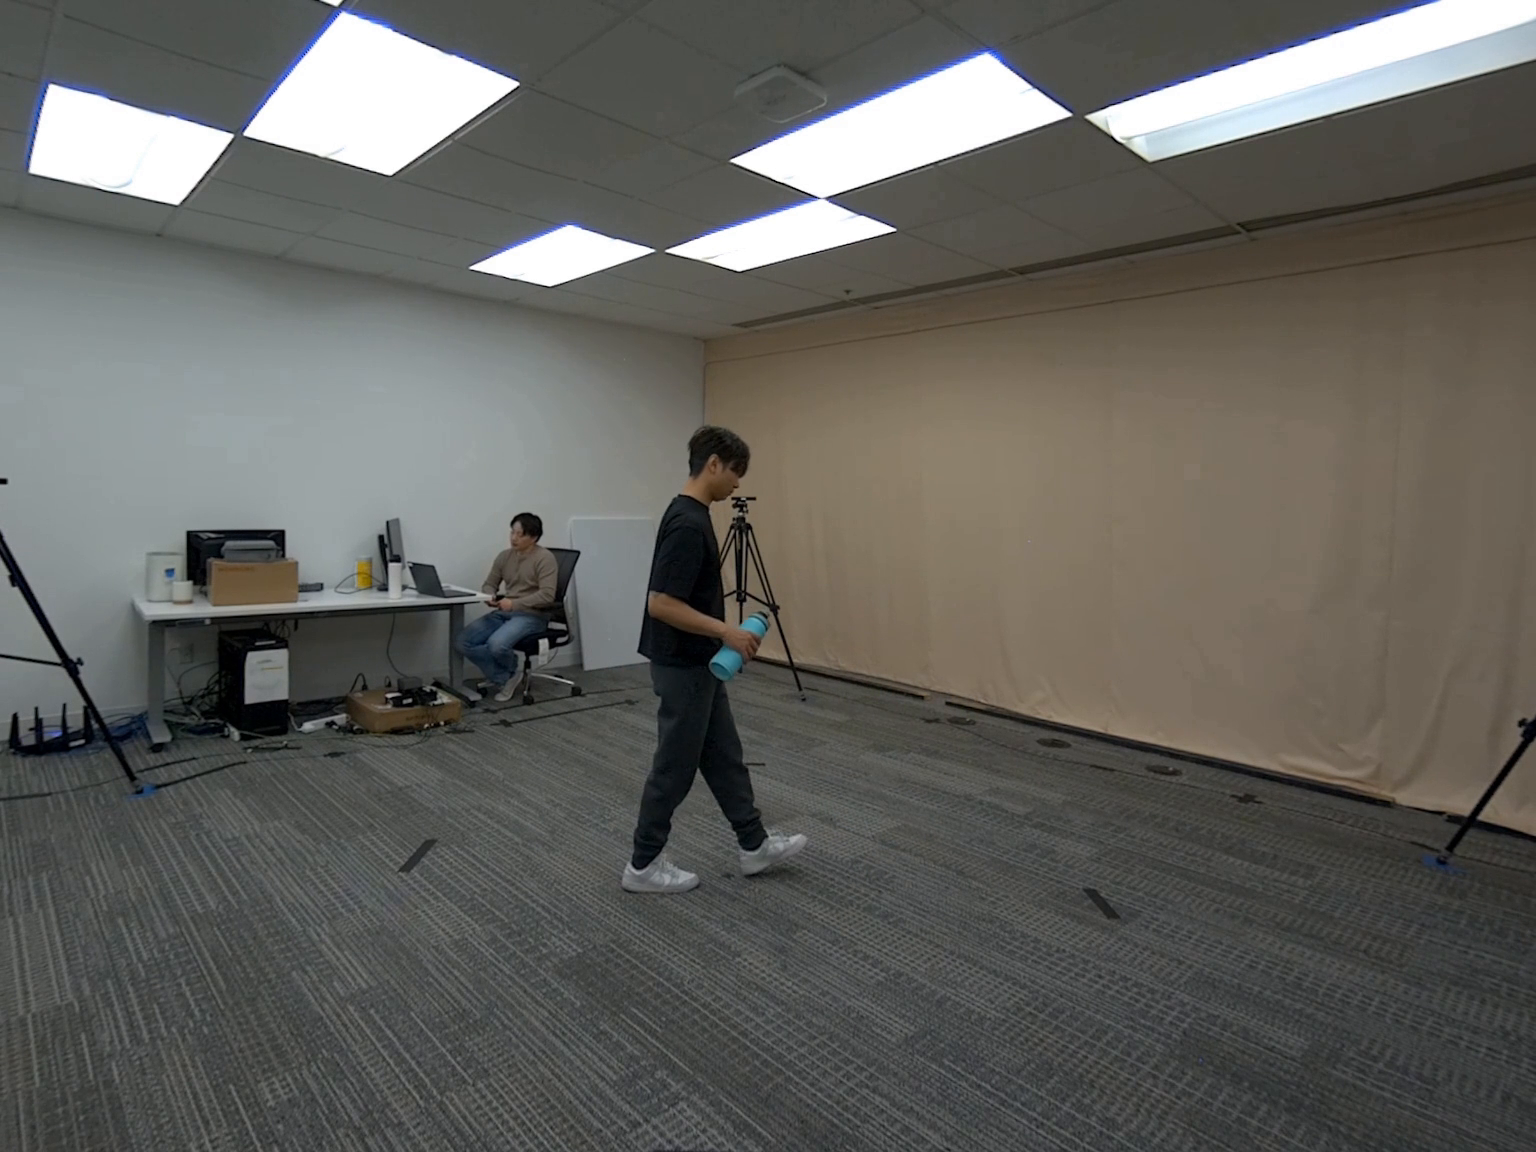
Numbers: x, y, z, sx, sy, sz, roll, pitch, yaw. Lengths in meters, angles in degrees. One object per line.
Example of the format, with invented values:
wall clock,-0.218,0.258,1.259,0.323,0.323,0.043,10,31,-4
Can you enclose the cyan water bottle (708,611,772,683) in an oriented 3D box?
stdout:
cyan water bottle,-0.093,0.225,2.823,0.094,0.090,0.284,4,41,38
